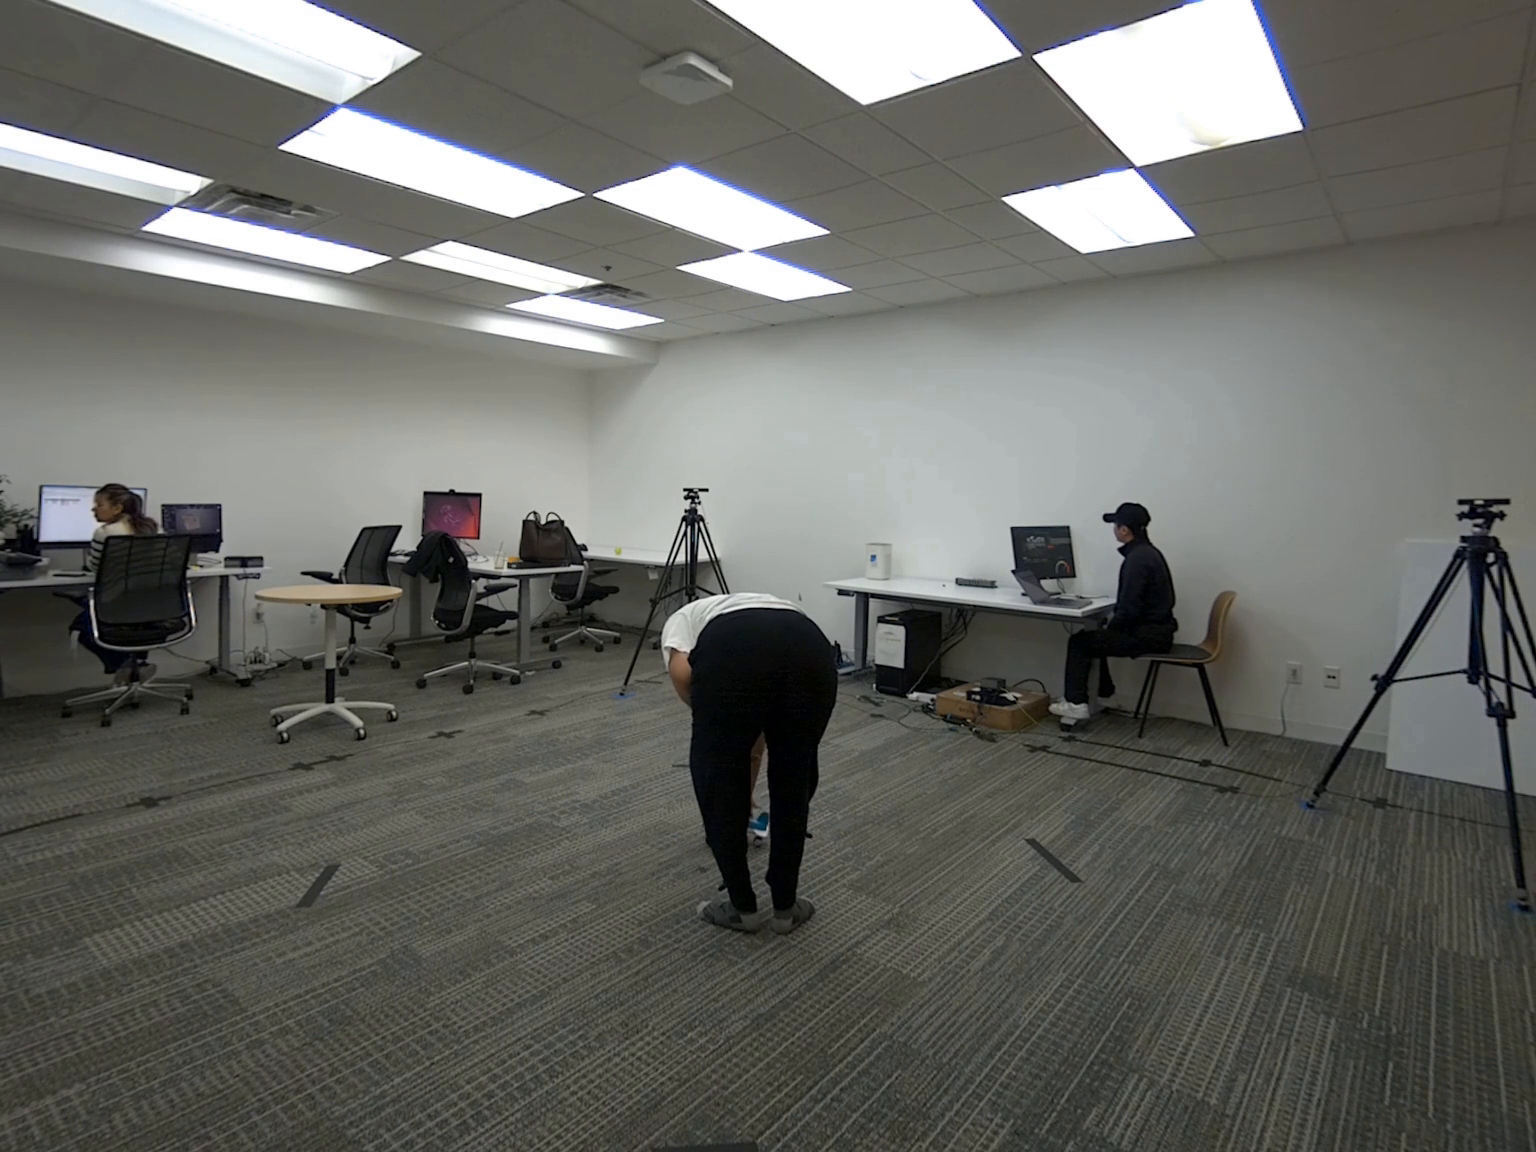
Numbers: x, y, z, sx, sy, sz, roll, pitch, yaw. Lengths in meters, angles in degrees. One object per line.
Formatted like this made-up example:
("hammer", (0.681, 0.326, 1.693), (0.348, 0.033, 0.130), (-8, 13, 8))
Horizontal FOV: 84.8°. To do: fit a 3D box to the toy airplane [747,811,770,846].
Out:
("toy airplane", (-0.133, 0.965, 3.365), (0.254, 0.156, 0.257), (-2, 4, -23))
